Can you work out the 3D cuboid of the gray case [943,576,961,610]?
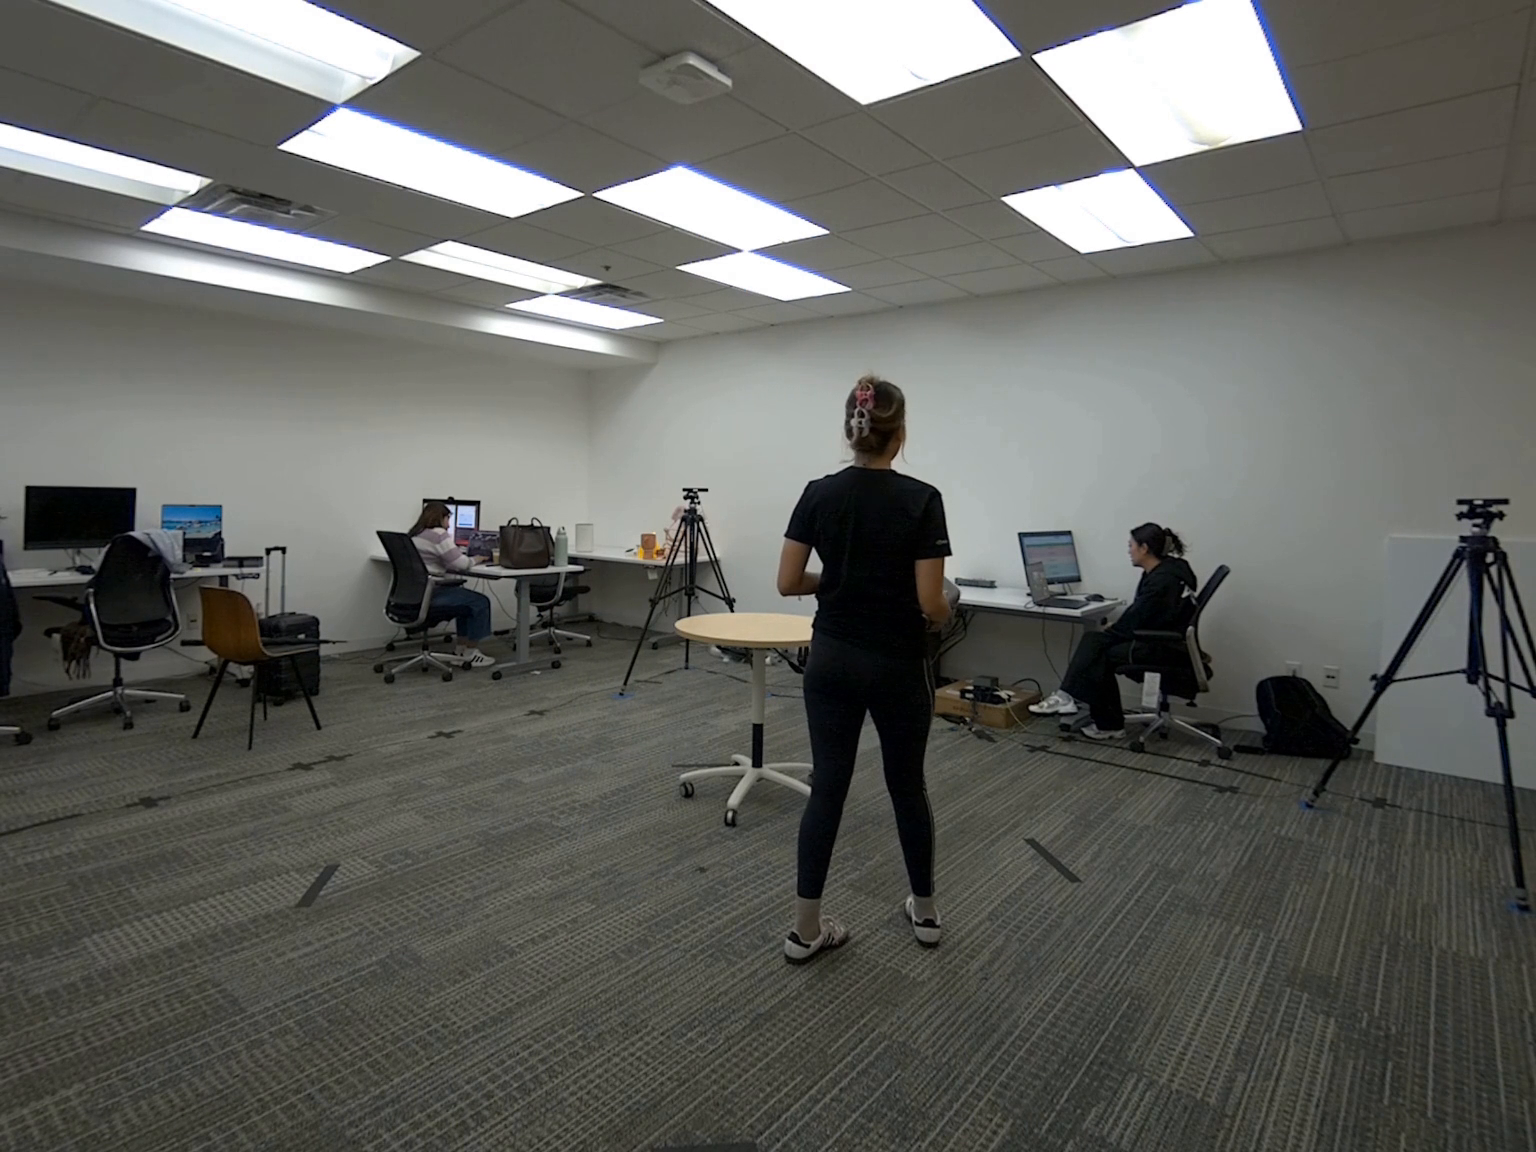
[{"bbox_3d":[0.452,0.048,2.766,0.254,0.102,0.270,-30,60,-31],"label":"gray case"}]
